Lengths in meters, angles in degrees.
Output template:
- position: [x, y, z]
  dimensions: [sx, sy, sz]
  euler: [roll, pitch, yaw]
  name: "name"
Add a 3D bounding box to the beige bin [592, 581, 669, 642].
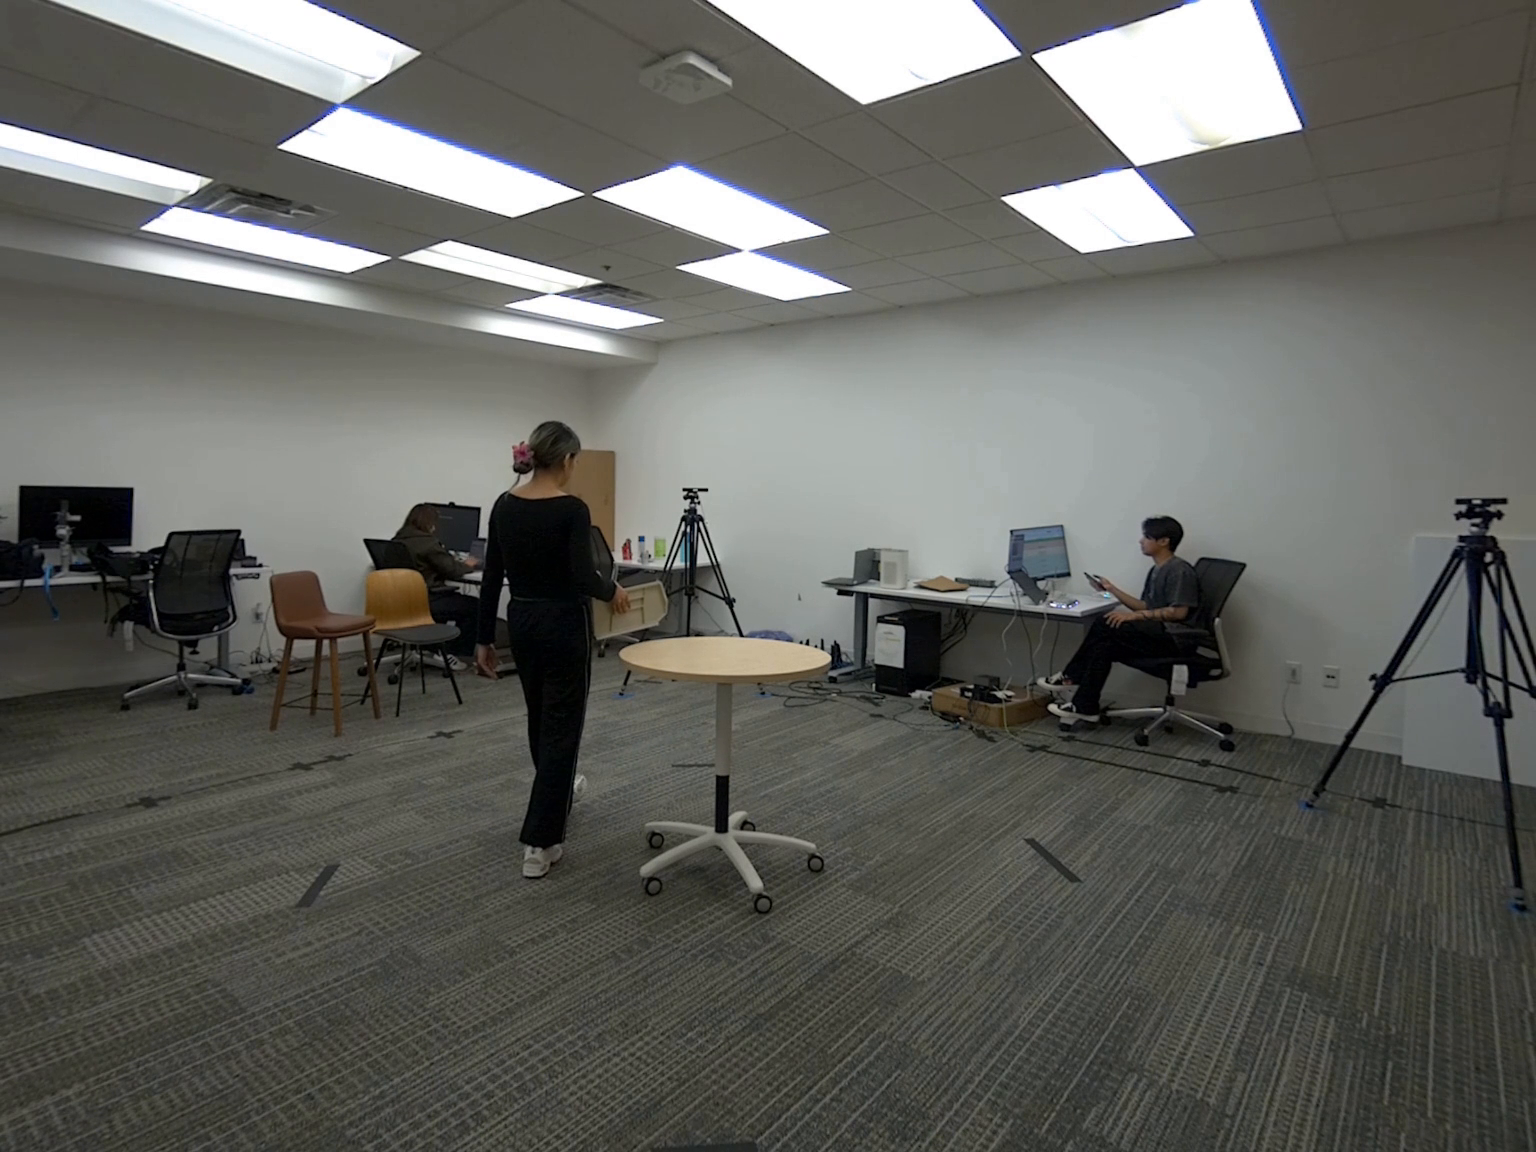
- position: [-0.696, 0.104, 3.476]
  dimensions: [0.437, 0.187, 0.367]
  euler: [9, 14, 43]
  name: "beige bin"
